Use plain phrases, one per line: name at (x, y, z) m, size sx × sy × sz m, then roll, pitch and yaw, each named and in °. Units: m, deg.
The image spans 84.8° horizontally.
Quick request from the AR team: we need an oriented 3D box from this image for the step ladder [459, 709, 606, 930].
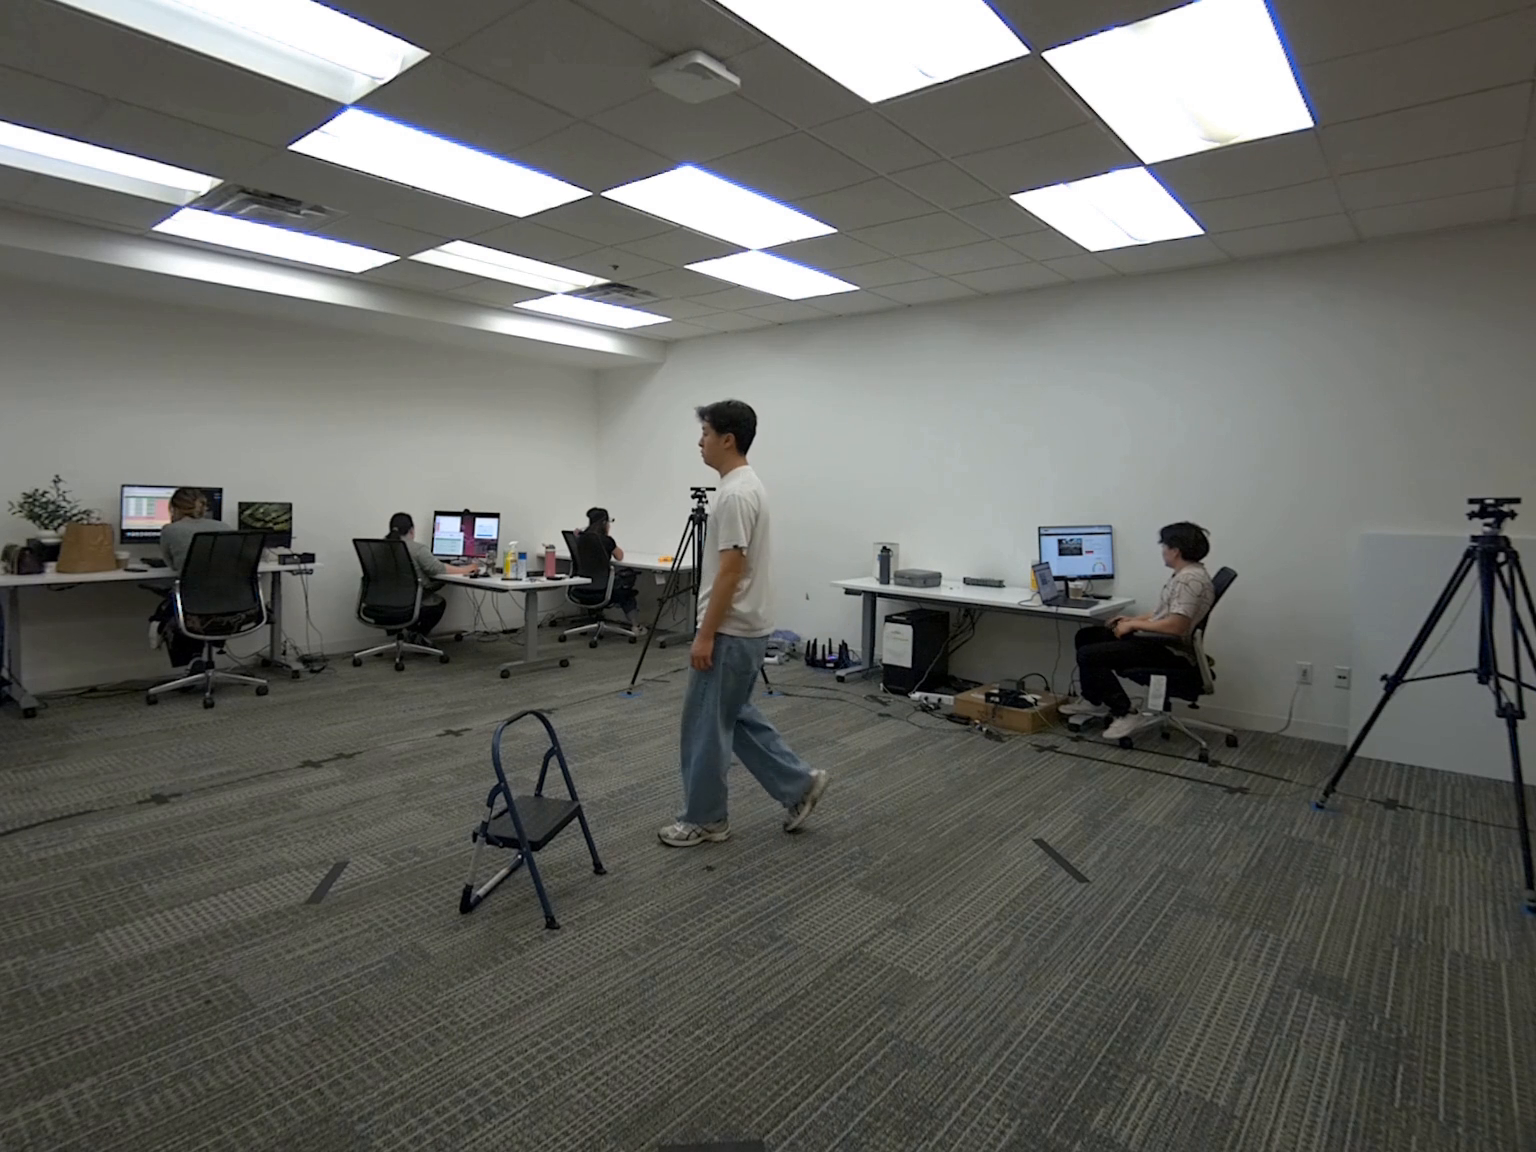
step ladder at (-0.797, 0.775, 2.886) m, size 0.354 × 0.604 × 0.426 m, roll 2°, pitch 4°, yaw 12°
